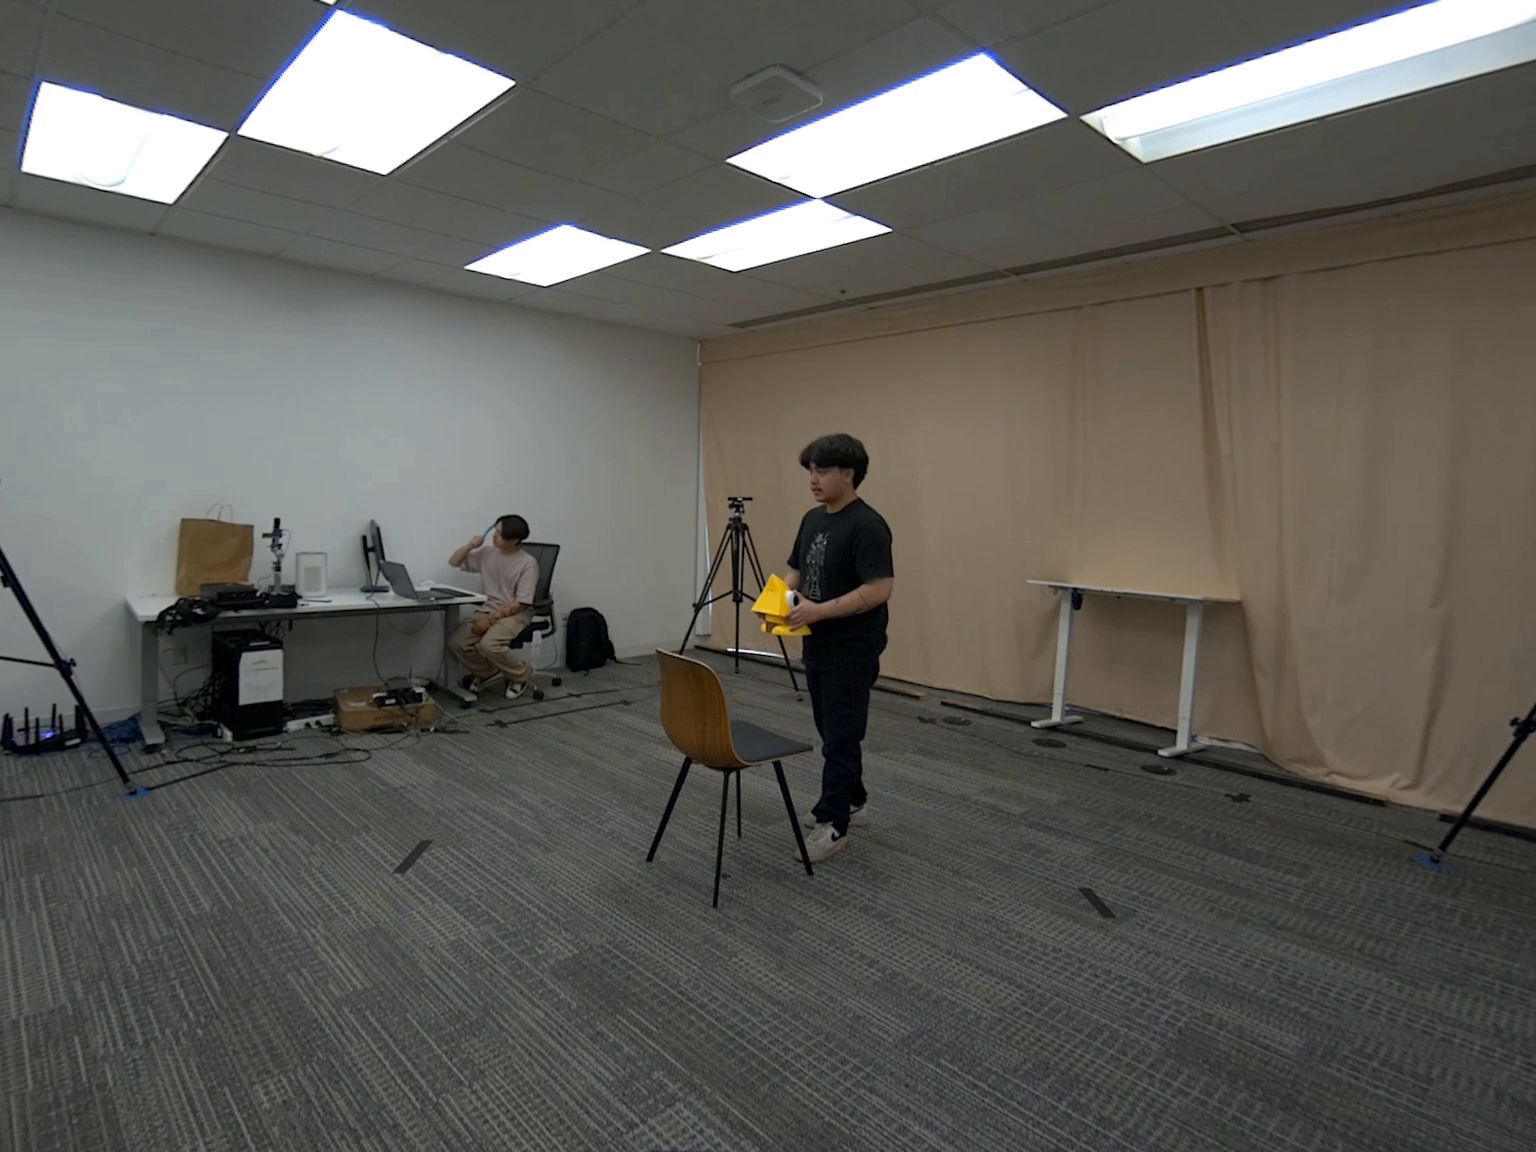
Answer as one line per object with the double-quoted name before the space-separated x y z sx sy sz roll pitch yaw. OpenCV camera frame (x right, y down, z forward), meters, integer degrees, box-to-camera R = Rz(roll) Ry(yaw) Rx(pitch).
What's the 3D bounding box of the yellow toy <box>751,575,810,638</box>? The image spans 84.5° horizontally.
"yellow toy" 0.064 0.112 3.321 0.189 0.230 0.209 2 1 -31
